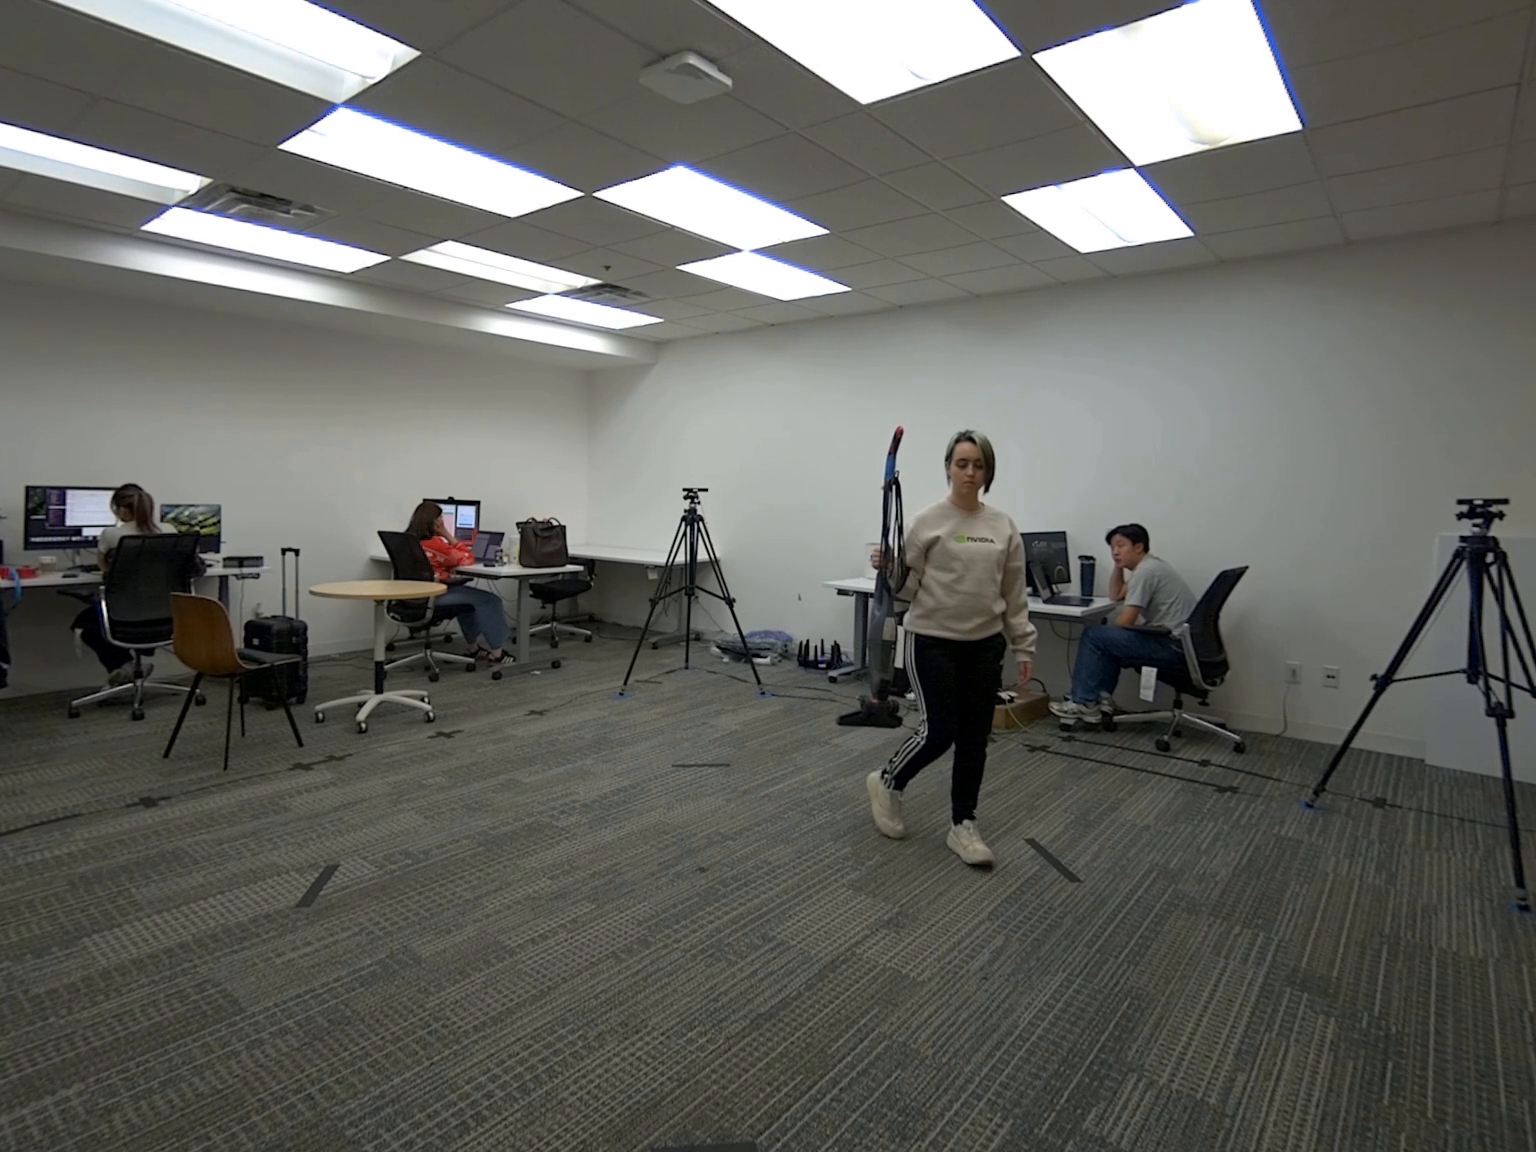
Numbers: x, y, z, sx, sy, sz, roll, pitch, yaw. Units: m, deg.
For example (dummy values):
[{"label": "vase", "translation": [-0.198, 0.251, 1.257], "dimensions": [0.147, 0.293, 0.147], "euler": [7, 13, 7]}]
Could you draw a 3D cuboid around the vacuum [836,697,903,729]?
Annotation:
[{"label": "vacuum", "translation": [0.422, -0.017, 3.108], "dimensions": [0.145, 1.054, 0.248], "euler": [7, -6, 8]}]
